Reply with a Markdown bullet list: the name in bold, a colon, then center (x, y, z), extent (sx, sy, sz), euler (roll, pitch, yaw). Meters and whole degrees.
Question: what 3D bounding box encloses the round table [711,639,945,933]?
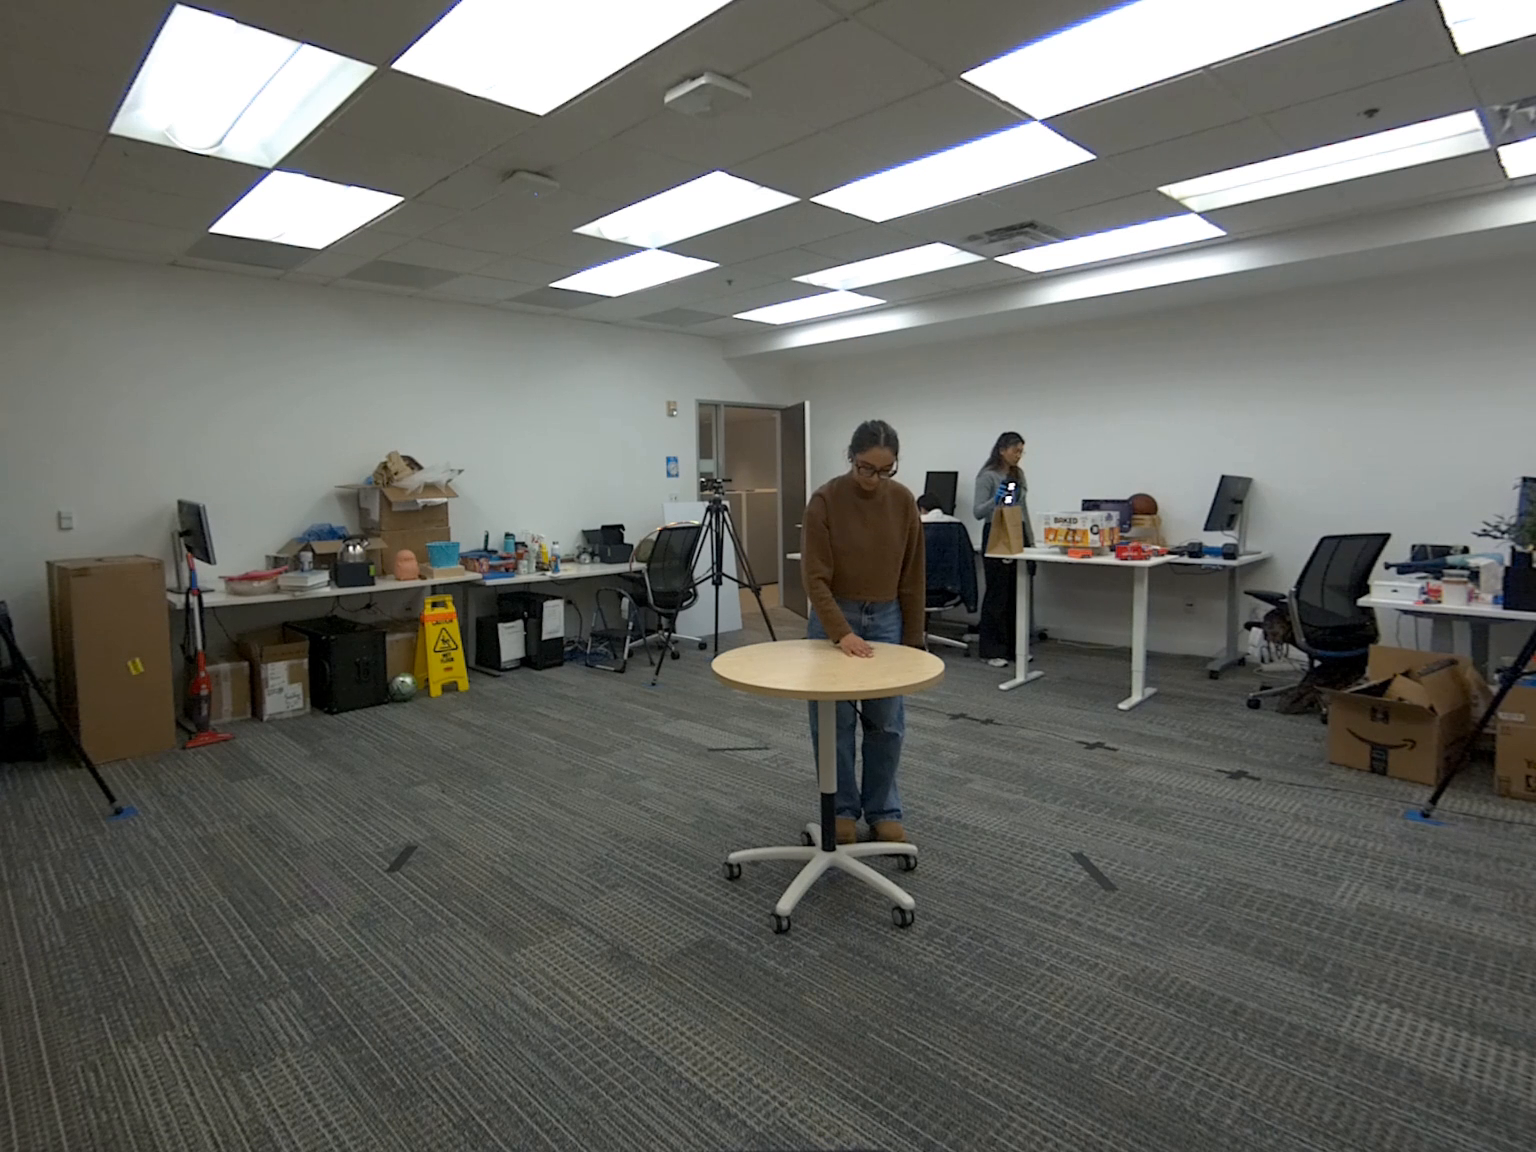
- **round table**: center (0.203, 0.680, 2.872), extent (0.763, 0.791, 0.768), euler (-1, 5, -2)
